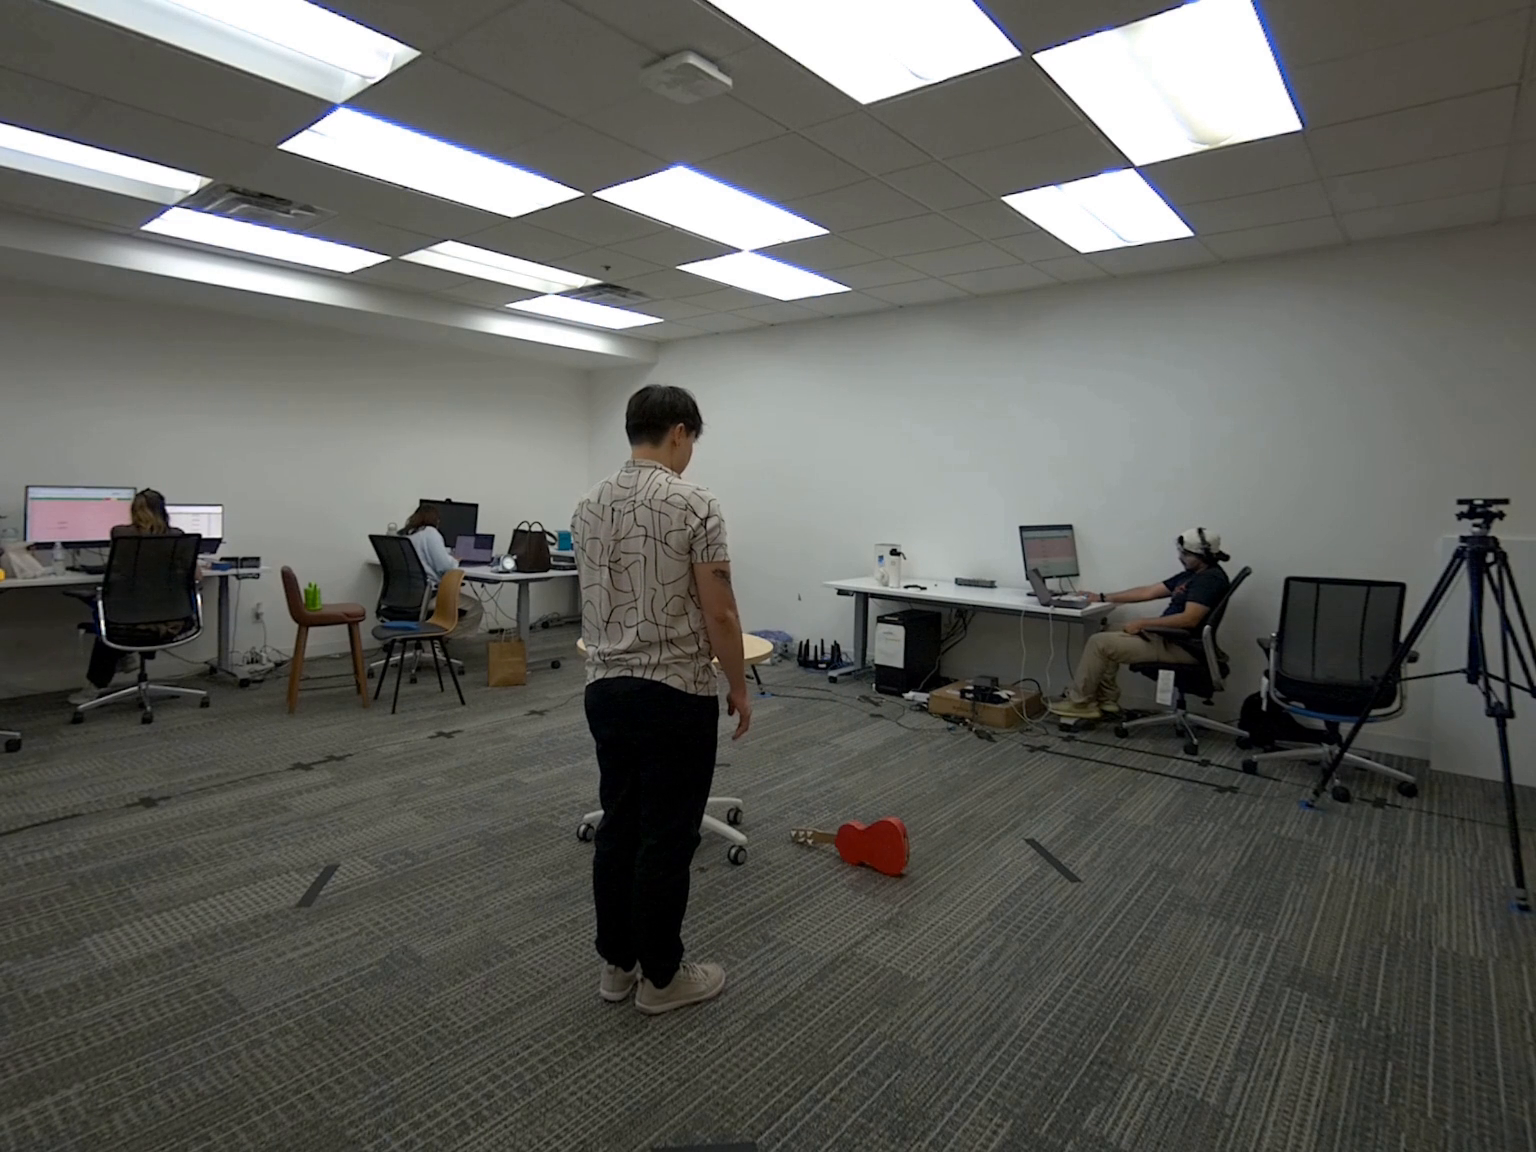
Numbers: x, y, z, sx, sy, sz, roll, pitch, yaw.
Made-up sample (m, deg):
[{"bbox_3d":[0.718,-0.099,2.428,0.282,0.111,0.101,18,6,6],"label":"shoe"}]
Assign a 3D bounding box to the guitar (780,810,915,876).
[{"bbox_3d":[0.291,1.022,3.214,0.508,0.195,0.068,-16,-11,32],"label":"guitar"}]
